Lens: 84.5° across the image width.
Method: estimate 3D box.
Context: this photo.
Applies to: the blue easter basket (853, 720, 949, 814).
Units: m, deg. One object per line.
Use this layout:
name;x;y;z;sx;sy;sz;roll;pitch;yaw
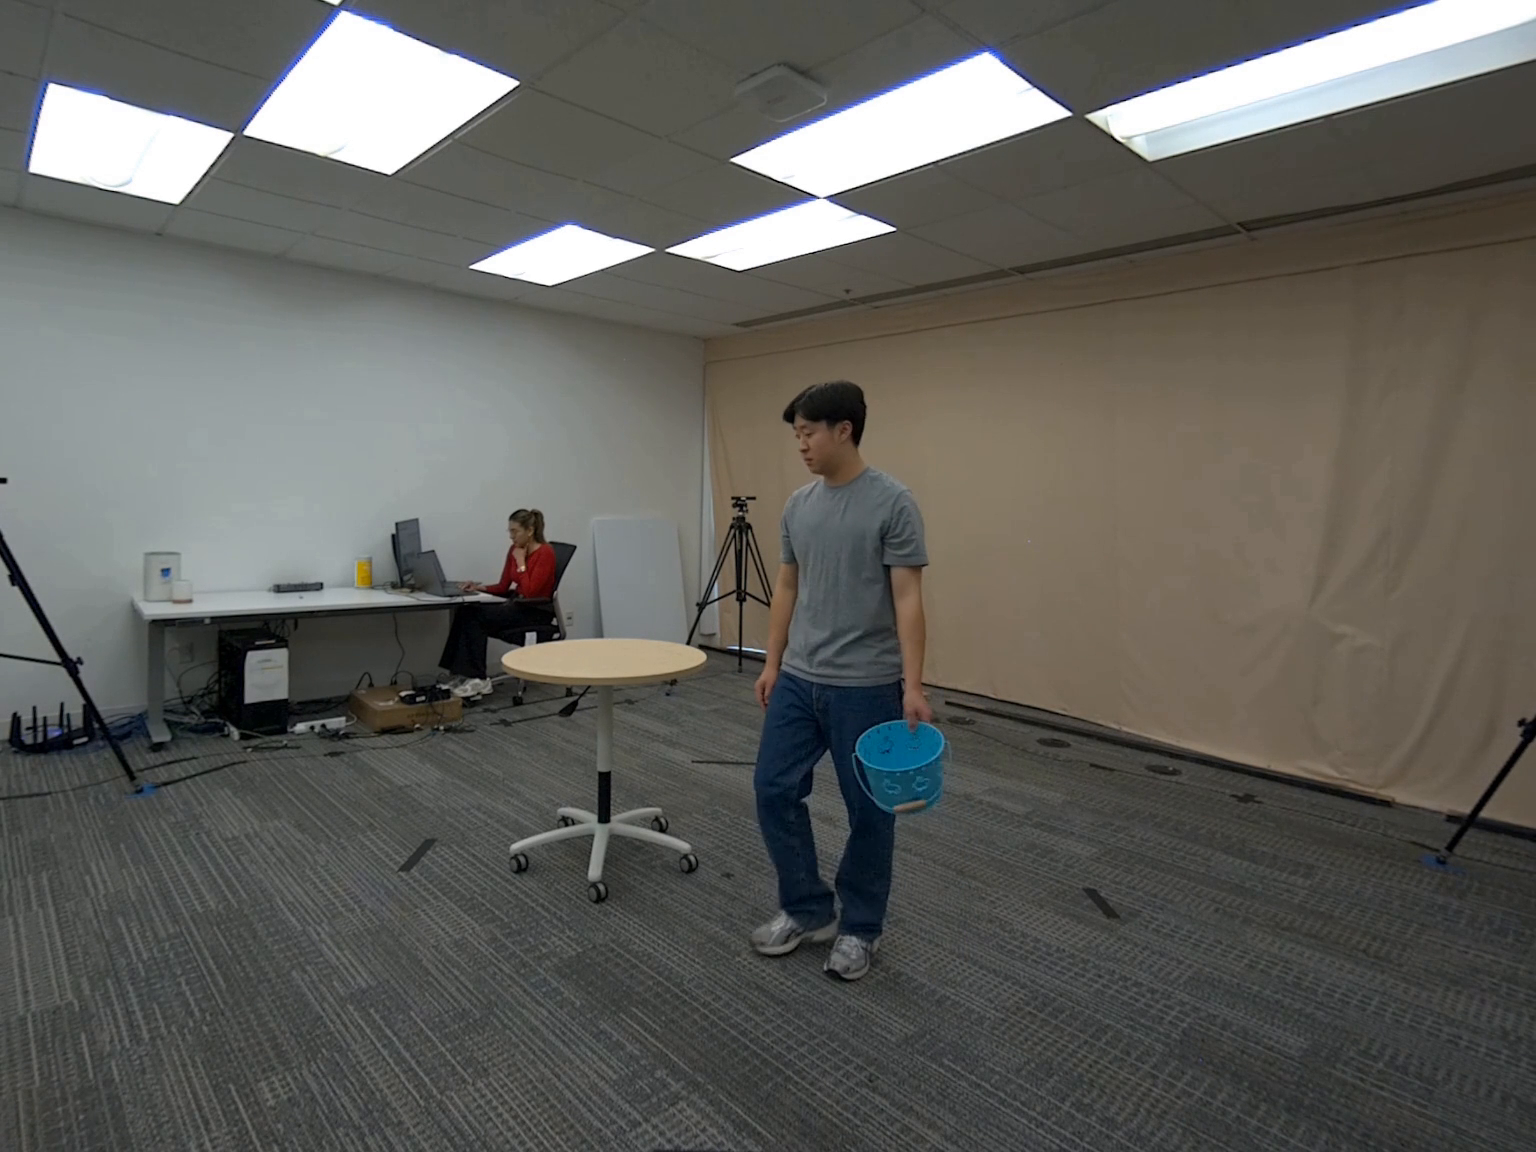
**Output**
blue easter basket;0.337;0.510;2.208;0.244;0.153;0.247;-11;18;2
